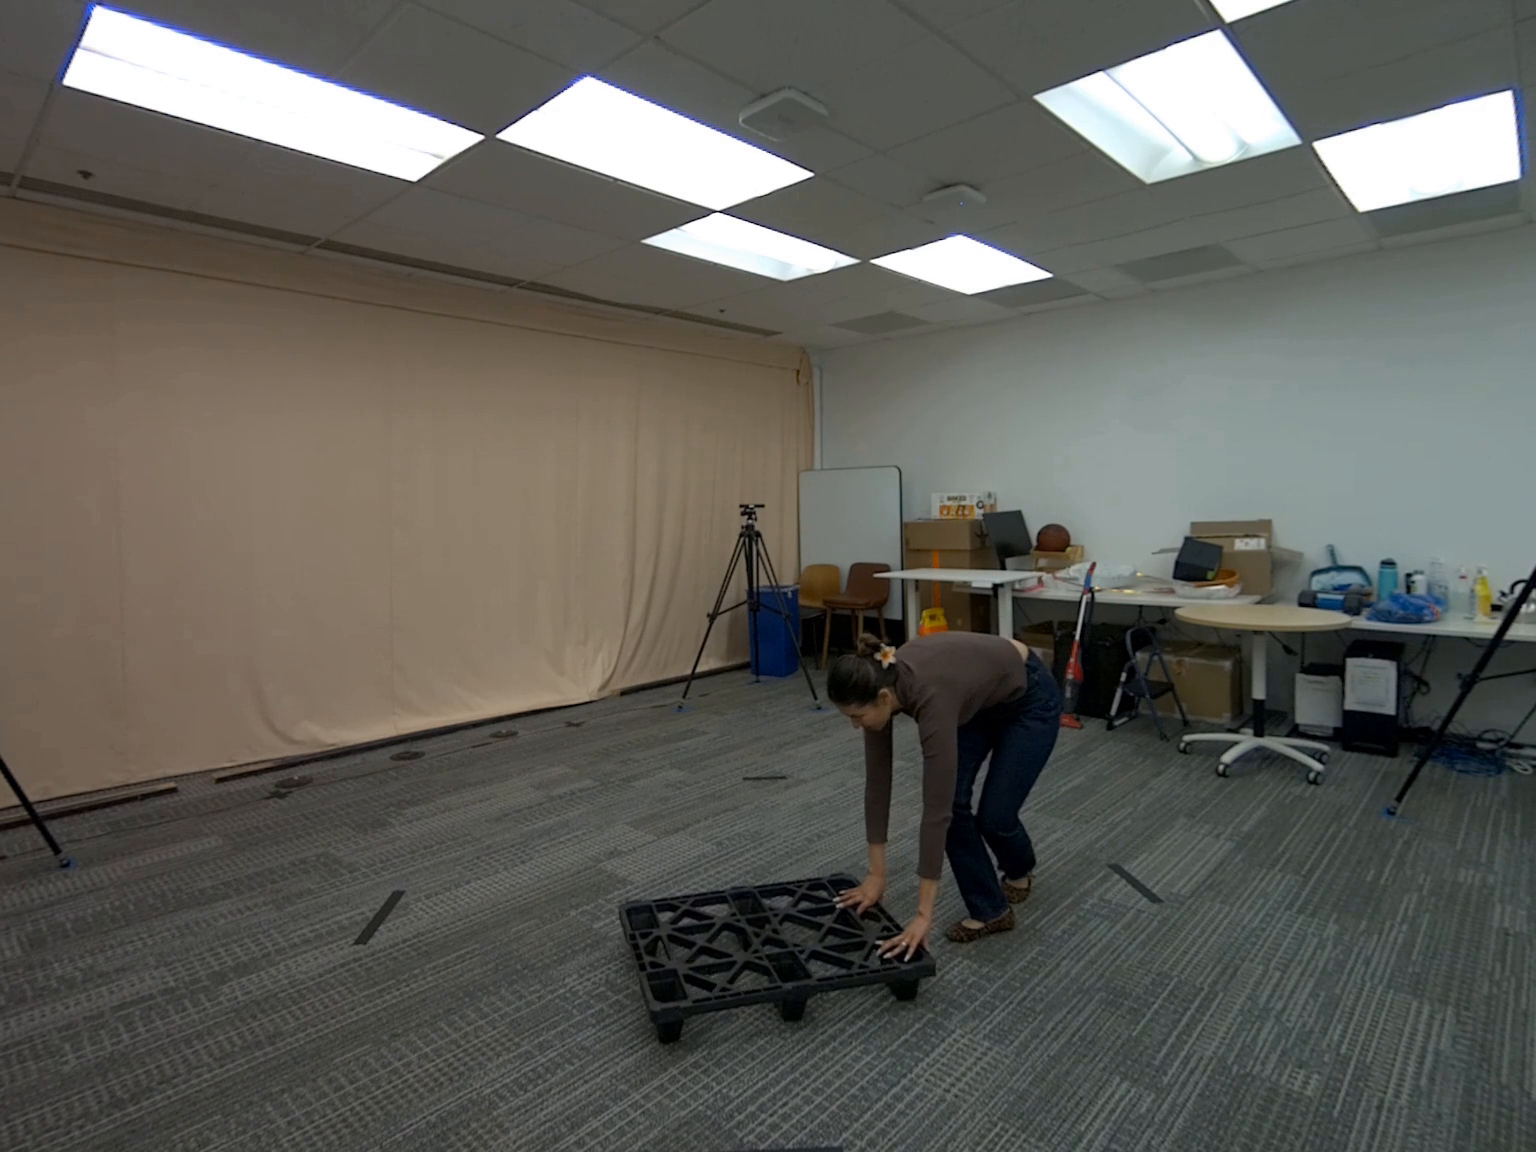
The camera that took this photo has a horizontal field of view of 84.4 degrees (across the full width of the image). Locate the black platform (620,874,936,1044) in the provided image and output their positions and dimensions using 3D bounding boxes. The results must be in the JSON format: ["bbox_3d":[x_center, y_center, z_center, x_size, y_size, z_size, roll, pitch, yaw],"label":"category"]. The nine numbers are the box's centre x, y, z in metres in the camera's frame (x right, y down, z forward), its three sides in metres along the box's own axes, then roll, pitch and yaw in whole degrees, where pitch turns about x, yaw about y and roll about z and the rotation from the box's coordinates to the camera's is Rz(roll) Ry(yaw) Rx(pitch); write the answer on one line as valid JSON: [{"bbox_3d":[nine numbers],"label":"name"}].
[{"bbox_3d":[0.002,1.112,2.487,0.793,0.143,0.616,-2,5,-16],"label":"black platform"}]
